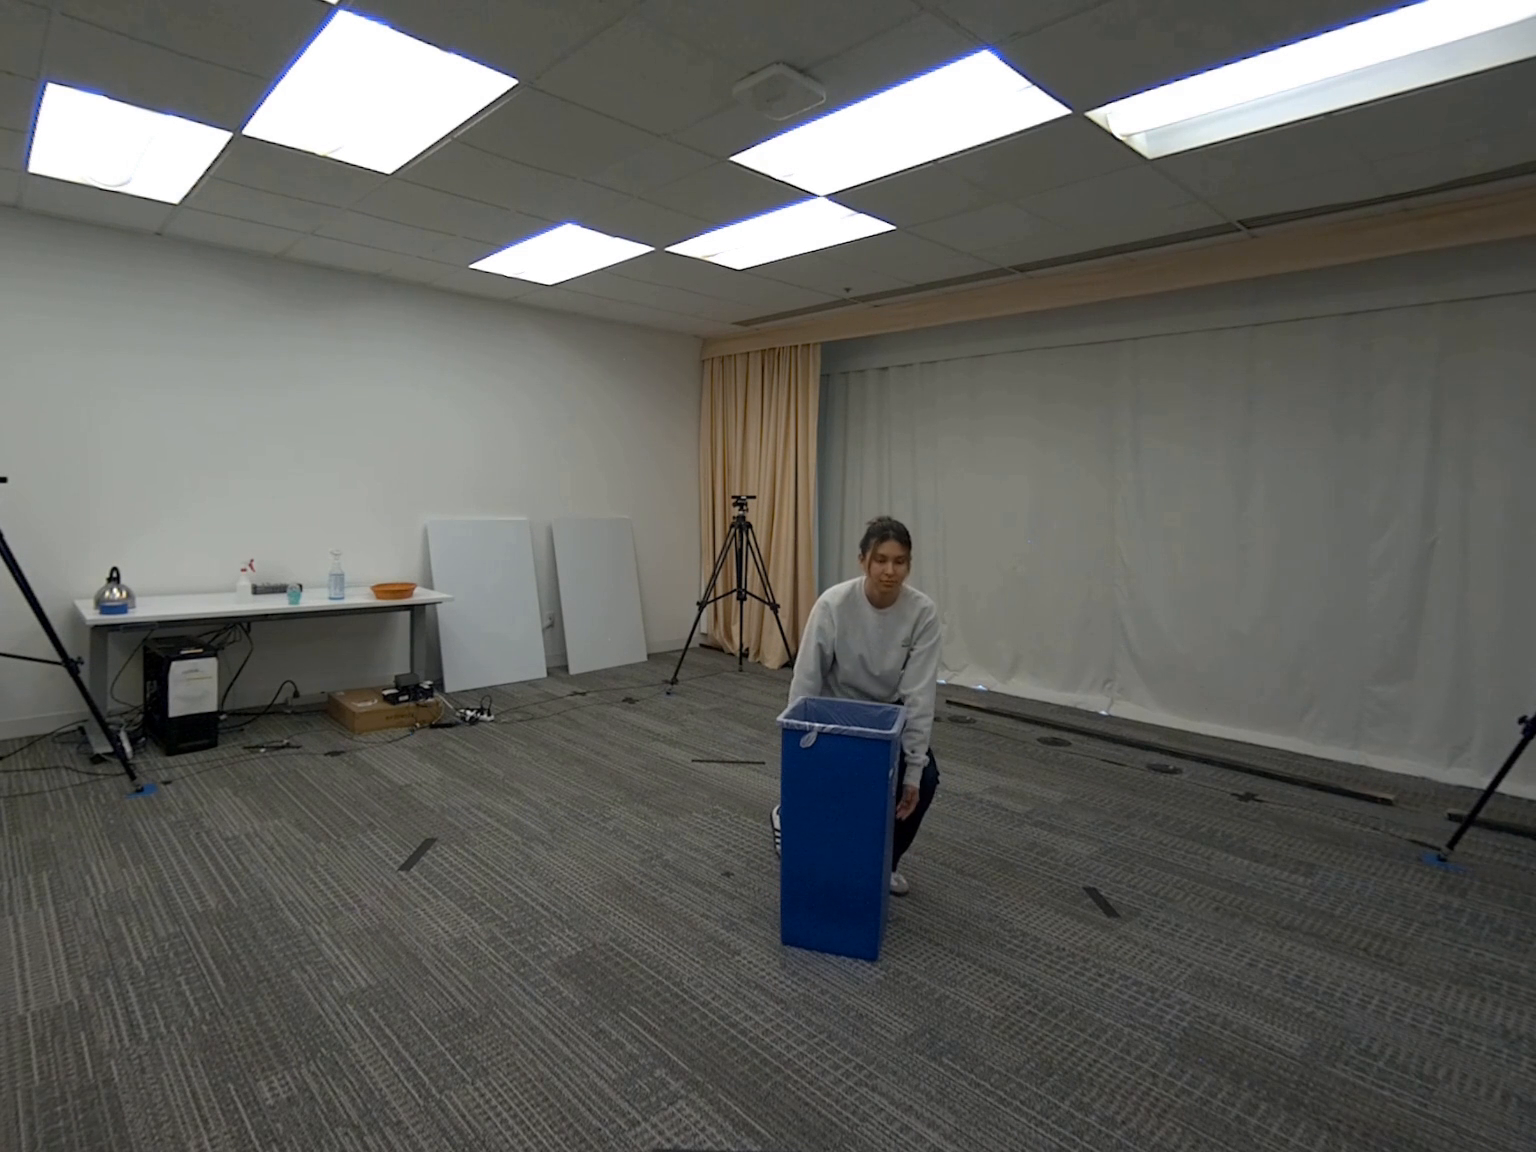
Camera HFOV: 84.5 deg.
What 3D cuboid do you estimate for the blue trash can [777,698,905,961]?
[{"bbox_3d":[0.223,0.791,2.705,0.383,0.711,0.370,3,4,17],"label":"blue trash can"}]
